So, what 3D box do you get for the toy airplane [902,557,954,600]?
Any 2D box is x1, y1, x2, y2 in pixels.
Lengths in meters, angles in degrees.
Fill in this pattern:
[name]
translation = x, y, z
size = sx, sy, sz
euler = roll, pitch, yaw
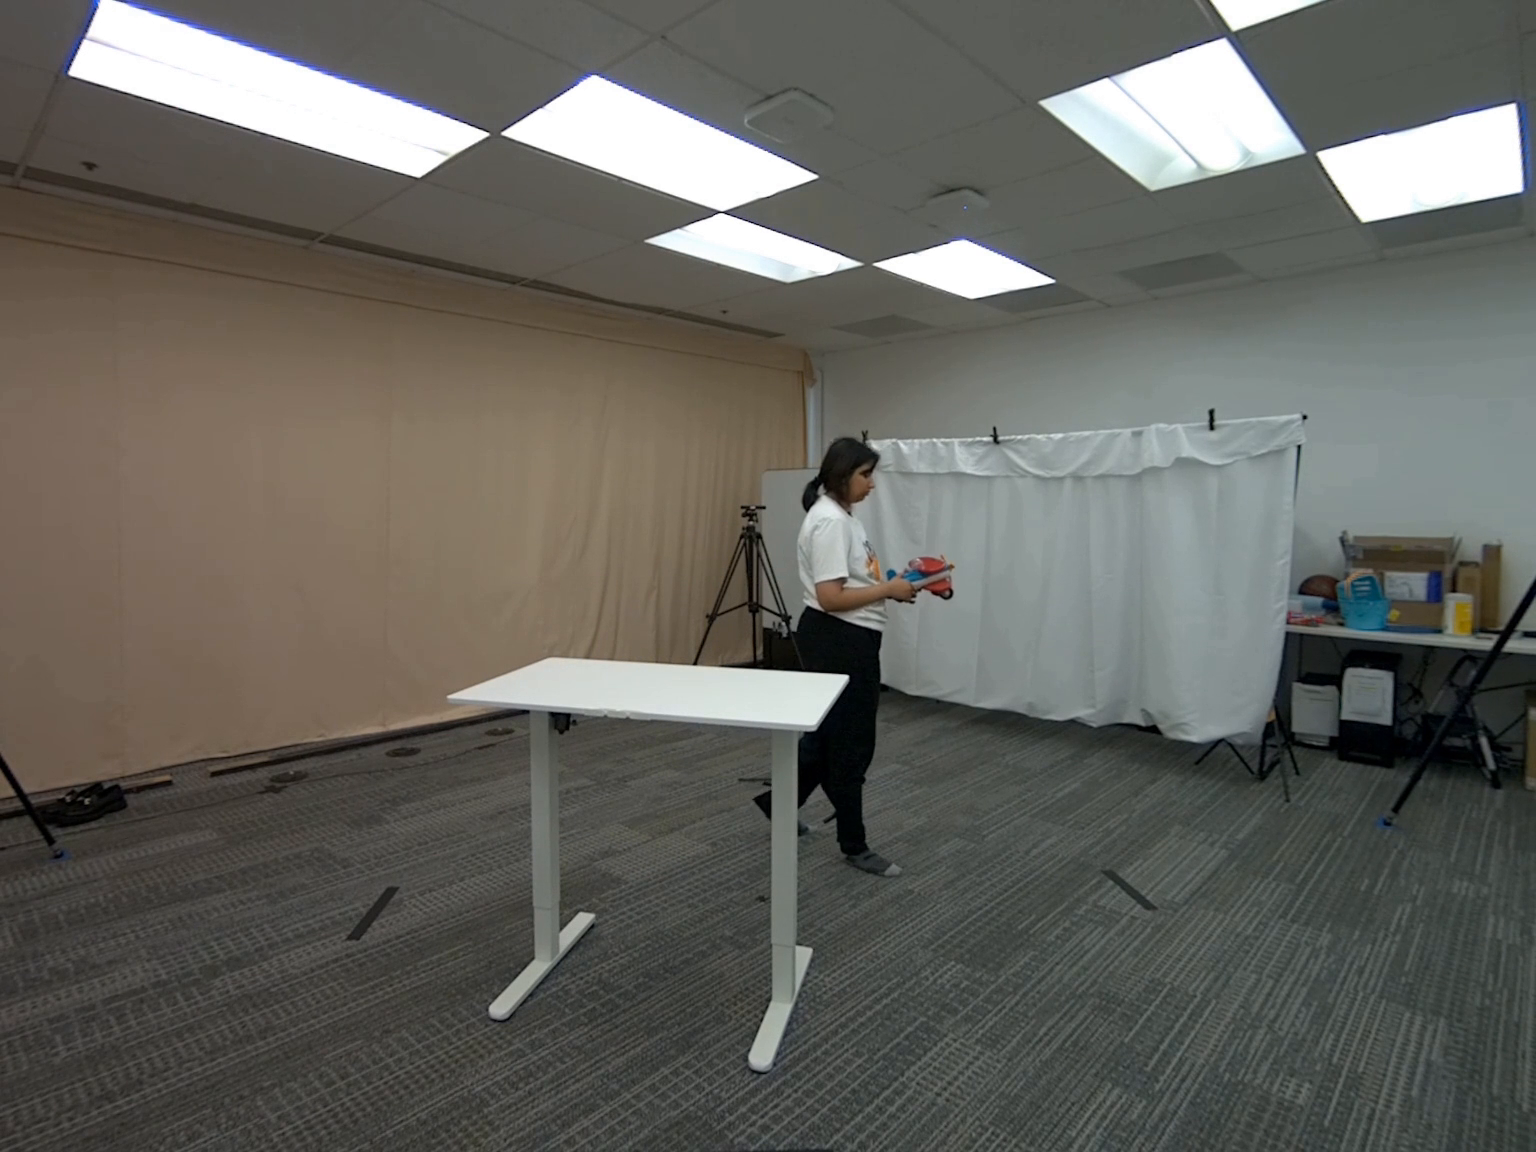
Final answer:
[toy airplane]
translation = 0.592, 0.021, 3.252
size = 0.252, 0.155, 0.259
euler = -10, 12, -34
